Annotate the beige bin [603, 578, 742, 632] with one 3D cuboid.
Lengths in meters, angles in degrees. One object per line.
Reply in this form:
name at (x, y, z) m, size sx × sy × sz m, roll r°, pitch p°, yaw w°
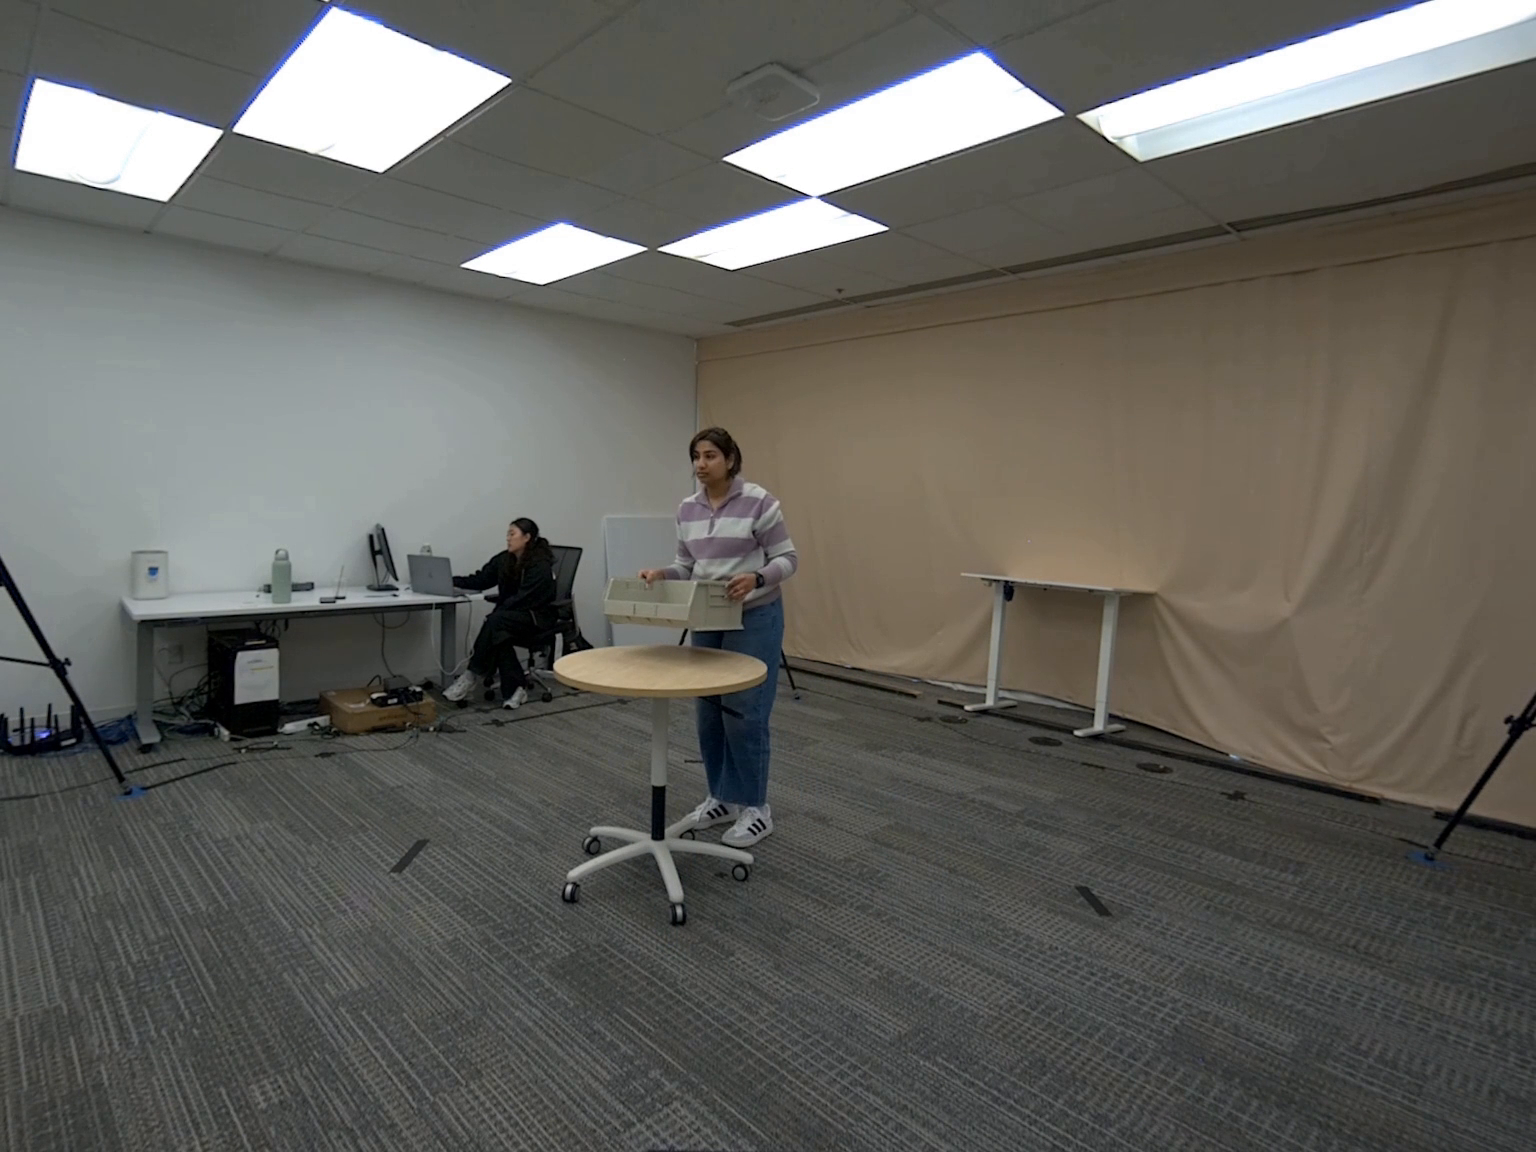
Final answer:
beige bin at (-0.360, 0.104, 3.210) m, size 0.431 × 0.189 × 0.368 m, roll 1°, pitch -3°, yaw 32°
